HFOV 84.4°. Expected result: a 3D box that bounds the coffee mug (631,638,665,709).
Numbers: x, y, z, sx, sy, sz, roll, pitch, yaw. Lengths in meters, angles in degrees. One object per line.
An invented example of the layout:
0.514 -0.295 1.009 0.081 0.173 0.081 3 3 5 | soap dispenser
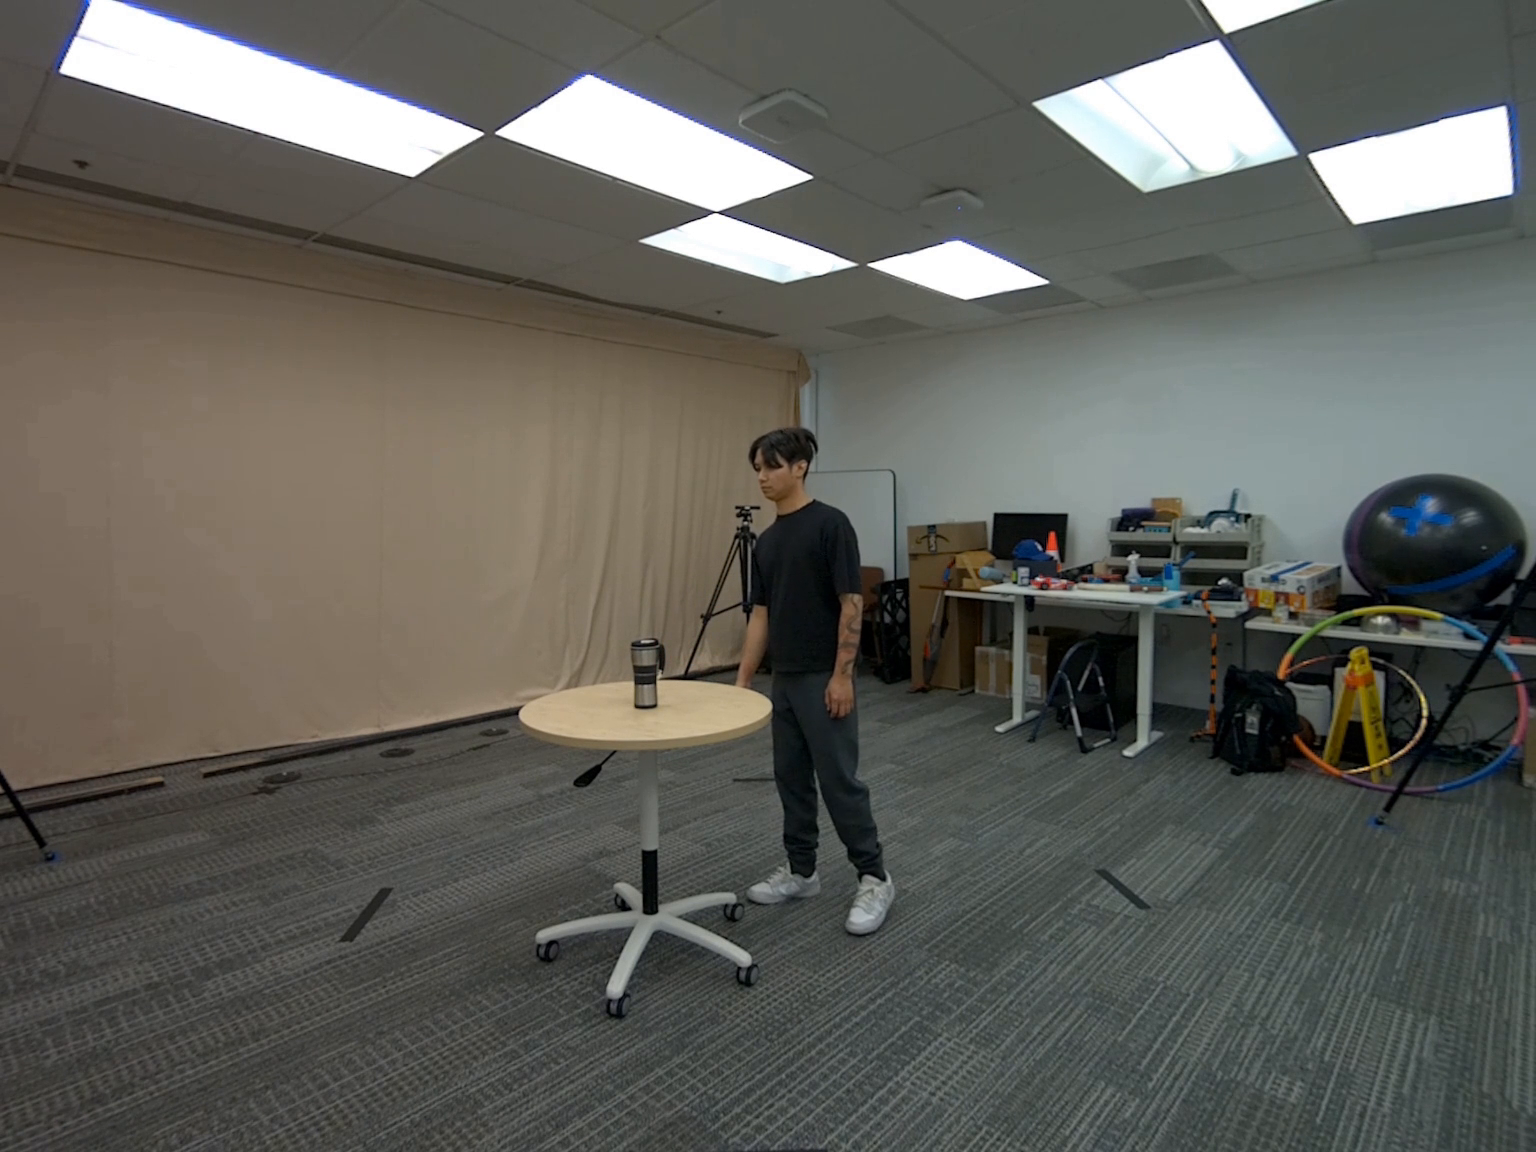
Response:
-0.358 0.297 2.565 0.119 0.203 0.090 -6 0 -29 | coffee mug
